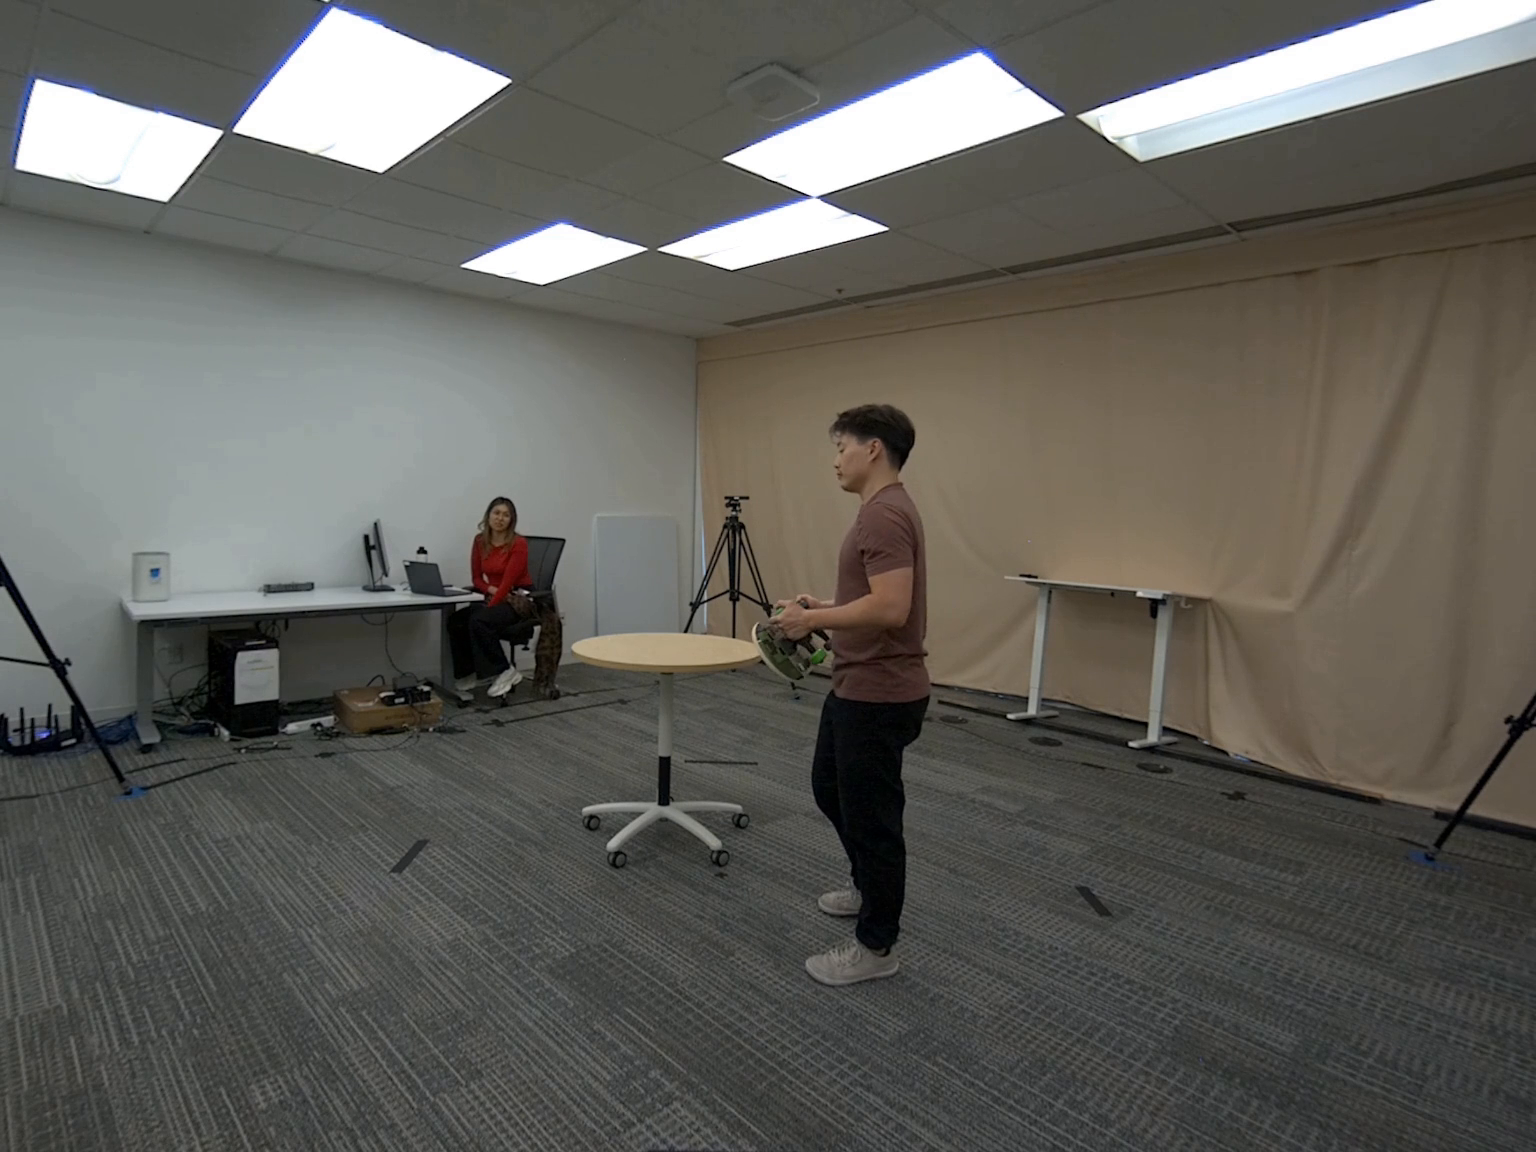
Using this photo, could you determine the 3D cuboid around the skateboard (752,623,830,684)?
[{"bbox_3d":[0.089,0.182,2.539,0.110,0.195,0.778,-40,-5,8],"label":"skateboard"}]
